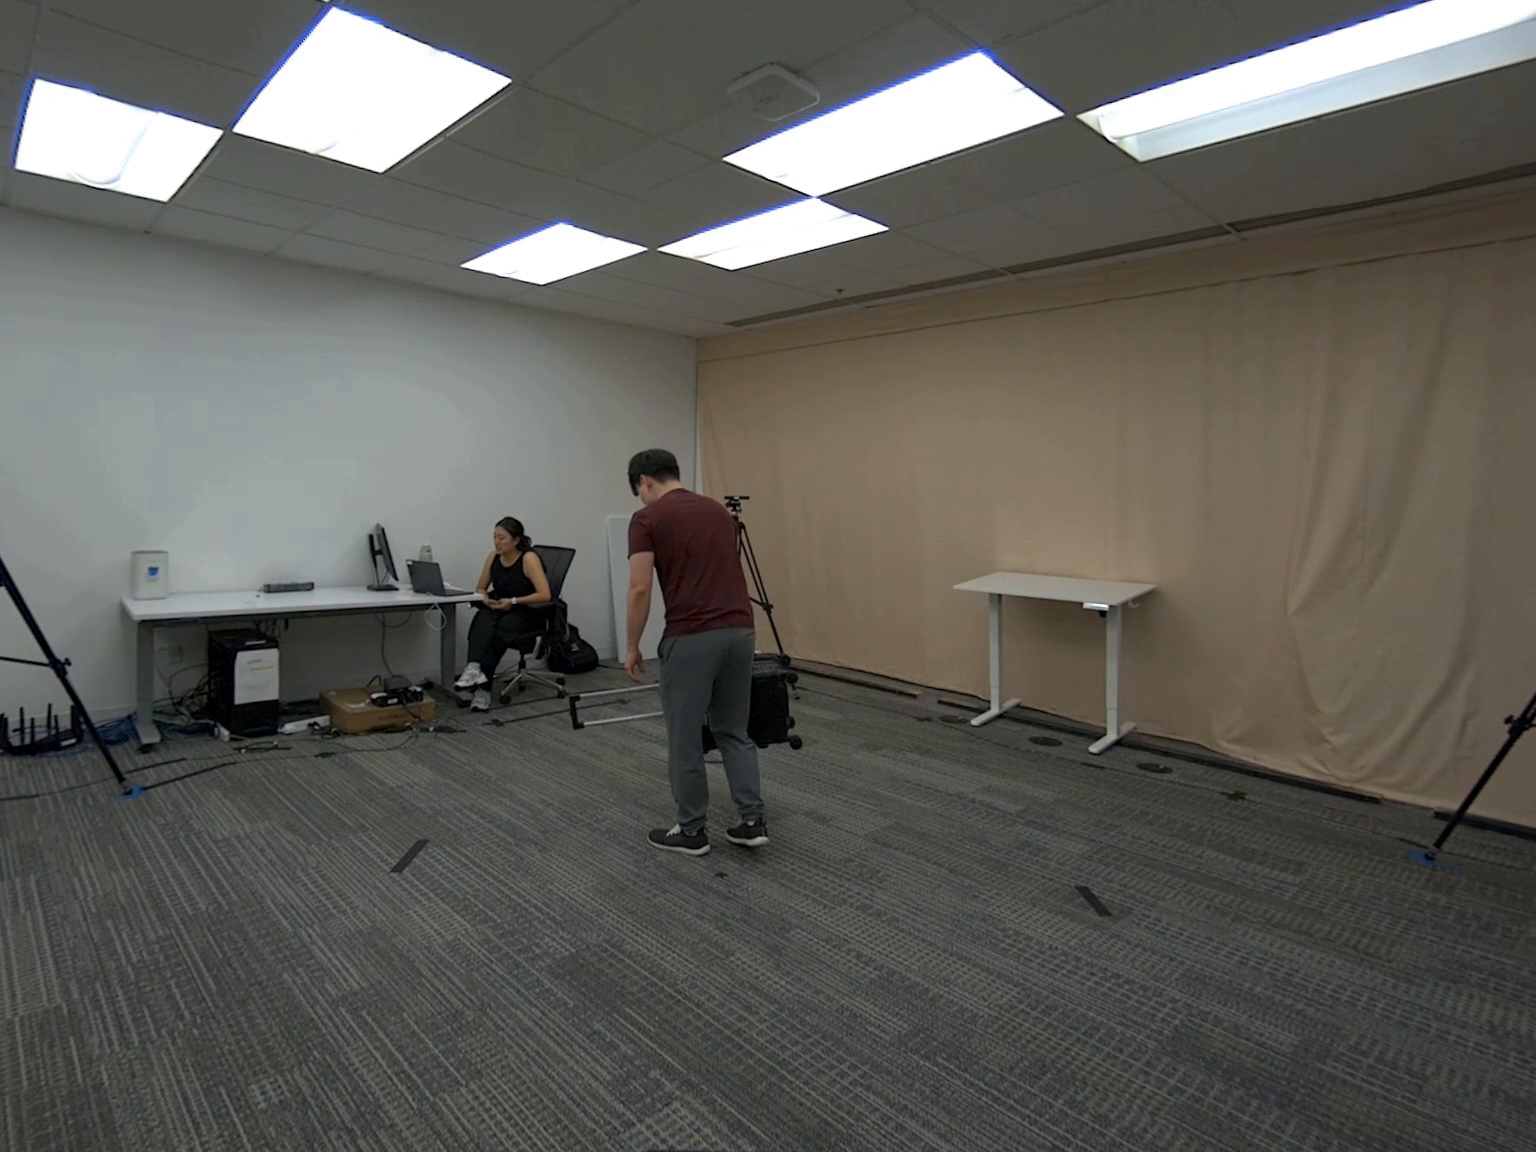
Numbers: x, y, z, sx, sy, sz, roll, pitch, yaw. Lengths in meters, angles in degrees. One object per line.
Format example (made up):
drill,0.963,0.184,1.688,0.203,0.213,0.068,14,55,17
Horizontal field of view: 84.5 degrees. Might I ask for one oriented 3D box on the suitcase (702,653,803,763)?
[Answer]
suitcase,-0.365,0.564,3.619,0.974,0.381,0.260,-5,11,-6
